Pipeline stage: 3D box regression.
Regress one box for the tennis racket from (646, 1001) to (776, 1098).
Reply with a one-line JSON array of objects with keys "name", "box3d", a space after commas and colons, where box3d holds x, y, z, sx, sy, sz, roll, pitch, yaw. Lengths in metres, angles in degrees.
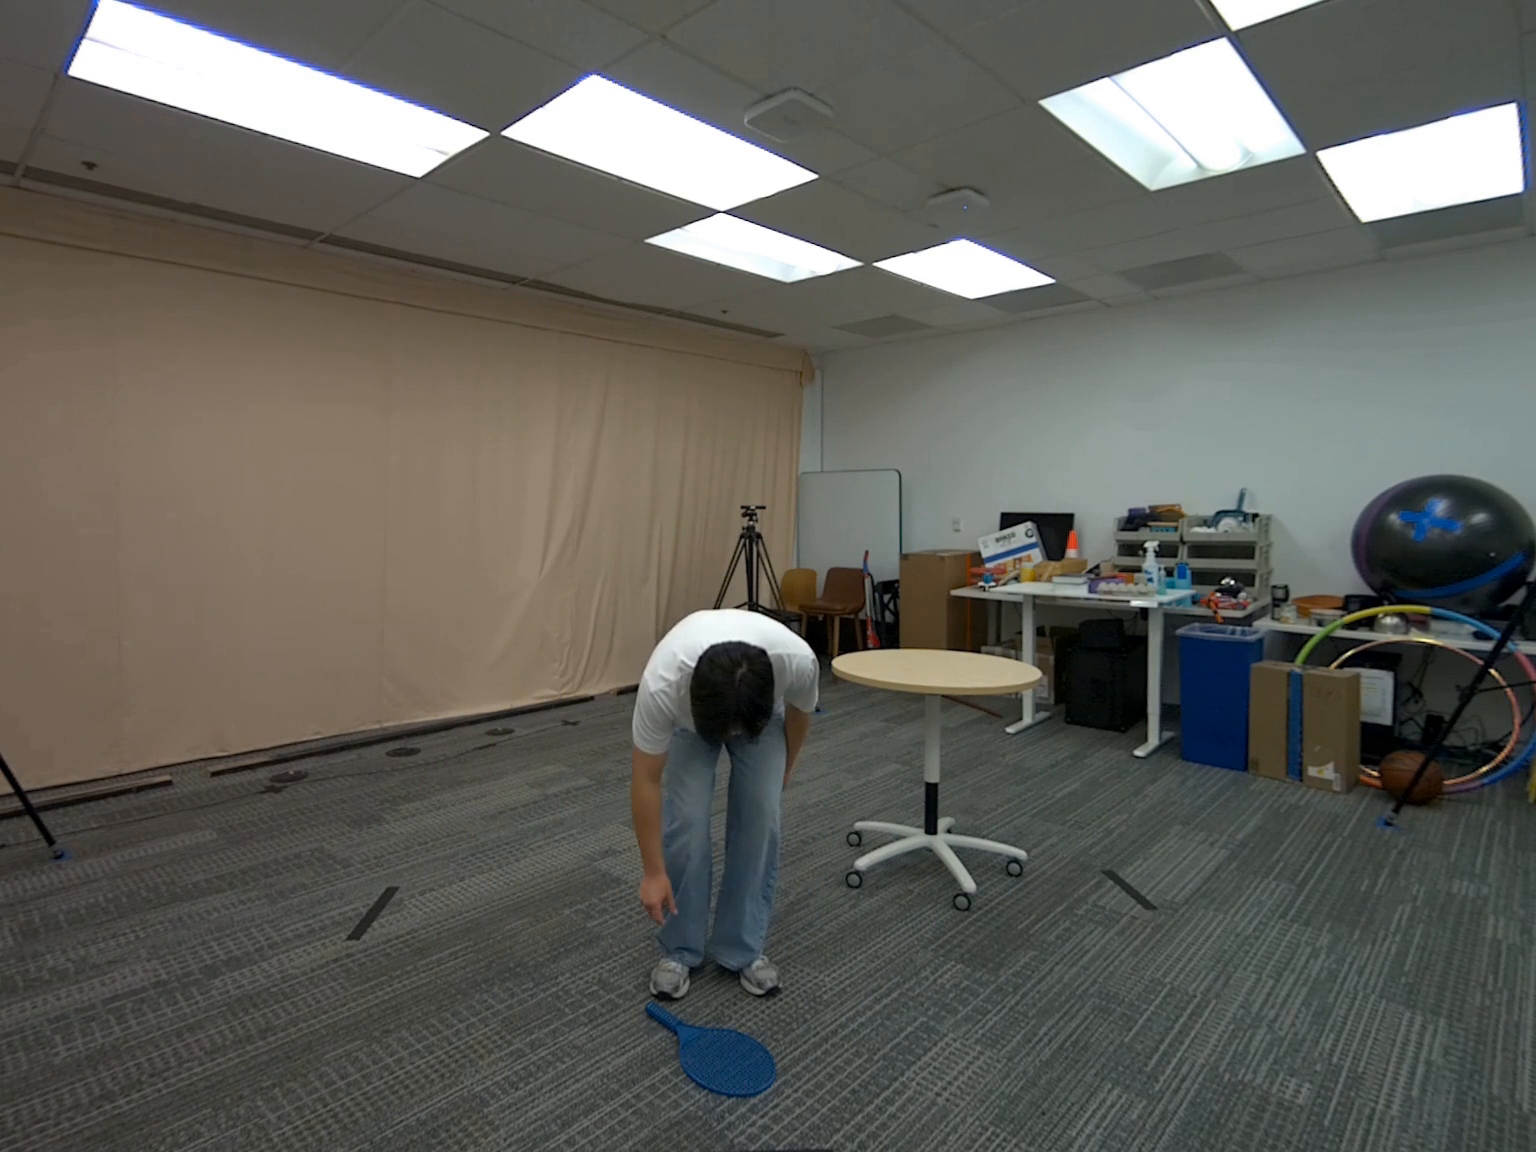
[{"name": "tennis racket", "box3d": [-0.159, 1.192, 2.168, 0.207, 0.031, 0.448, -5, 8, -44]}]
